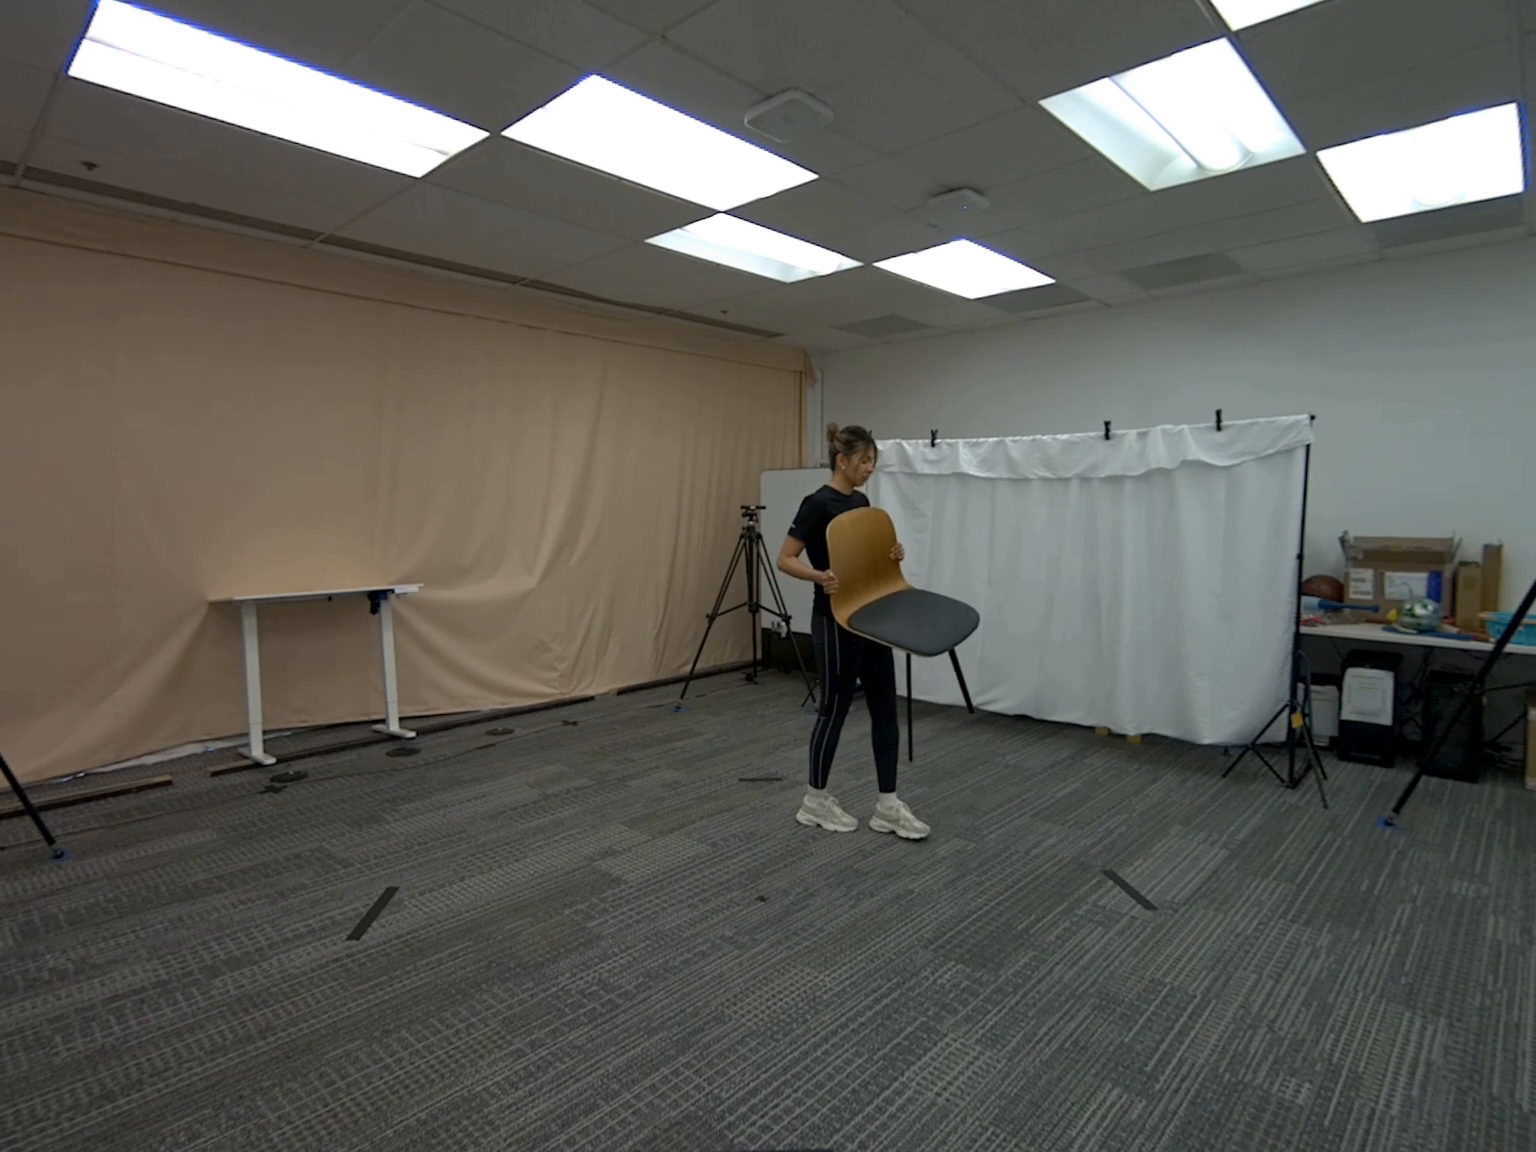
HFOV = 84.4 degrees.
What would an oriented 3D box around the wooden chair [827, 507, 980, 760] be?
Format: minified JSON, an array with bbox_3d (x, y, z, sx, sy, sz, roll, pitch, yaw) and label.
[{"bbox_3d":[0.544,0.204,3.360,0.467,0.866,0.542,-21,25,-40],"label":"wooden chair"}]
